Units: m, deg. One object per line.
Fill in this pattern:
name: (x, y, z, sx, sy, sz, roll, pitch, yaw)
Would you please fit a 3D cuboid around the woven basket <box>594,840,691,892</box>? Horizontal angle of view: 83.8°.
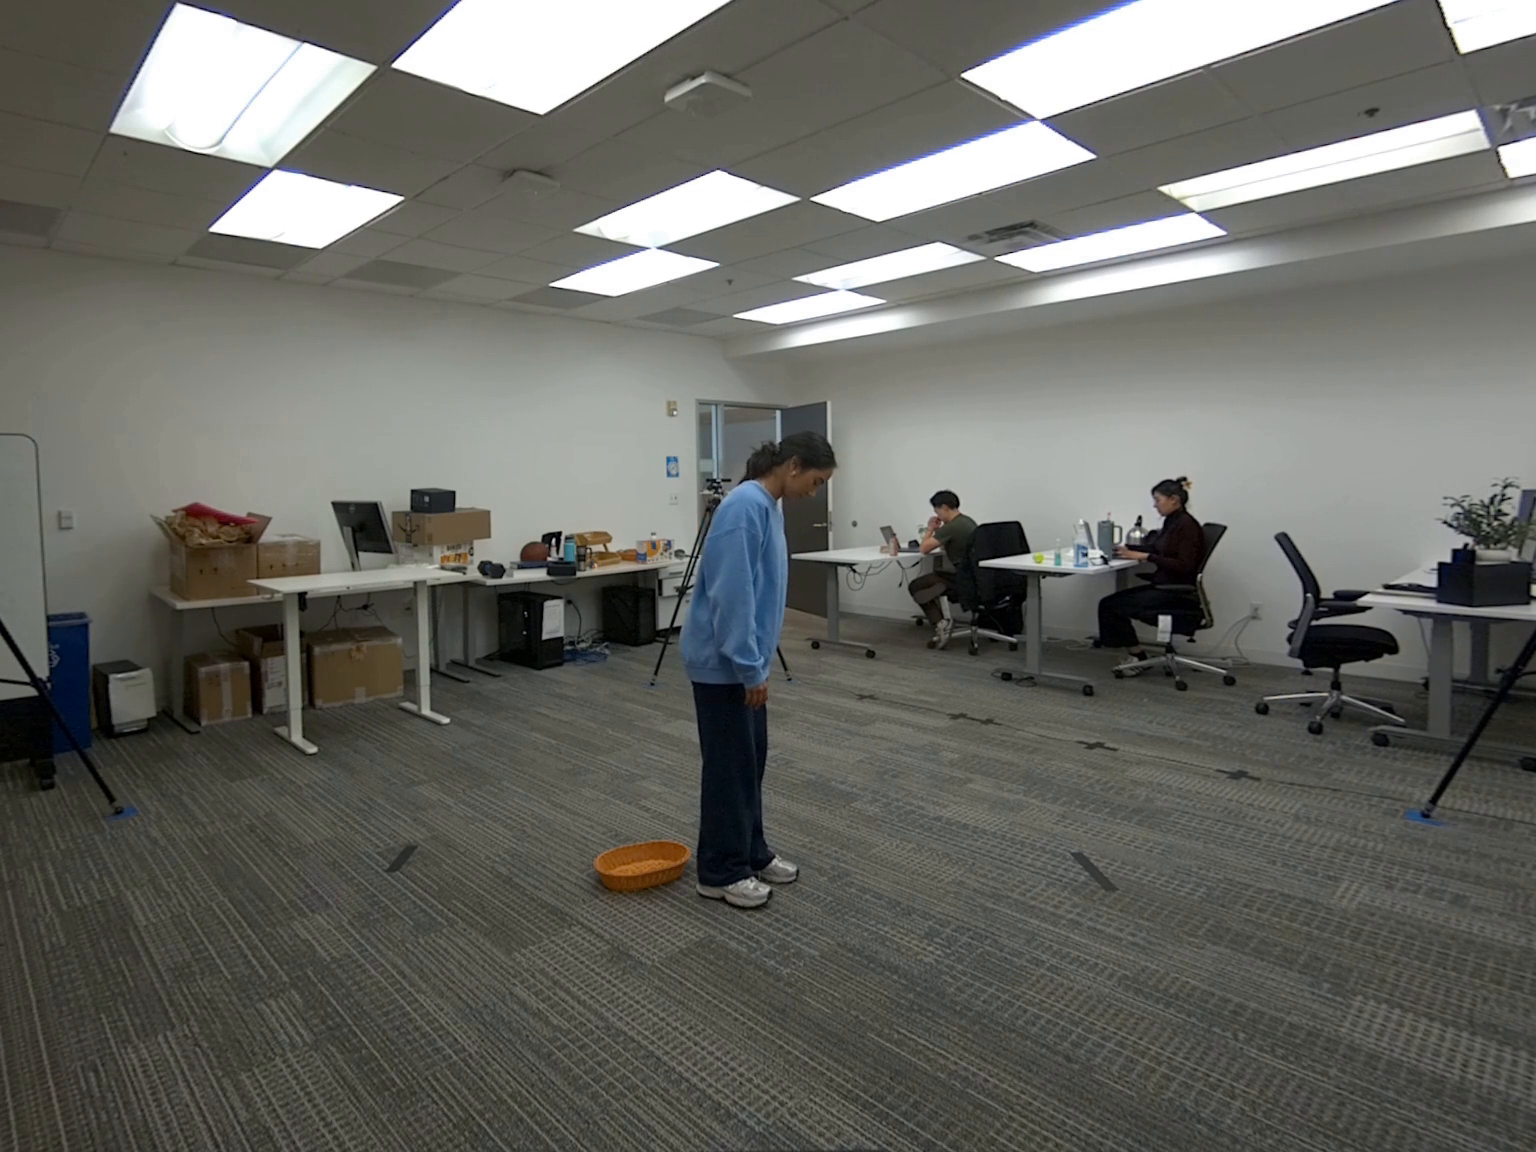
woven basket: (-0.435, 1.024, 3.014, 0.343, 0.073, 0.258, -4, 6, -24)
